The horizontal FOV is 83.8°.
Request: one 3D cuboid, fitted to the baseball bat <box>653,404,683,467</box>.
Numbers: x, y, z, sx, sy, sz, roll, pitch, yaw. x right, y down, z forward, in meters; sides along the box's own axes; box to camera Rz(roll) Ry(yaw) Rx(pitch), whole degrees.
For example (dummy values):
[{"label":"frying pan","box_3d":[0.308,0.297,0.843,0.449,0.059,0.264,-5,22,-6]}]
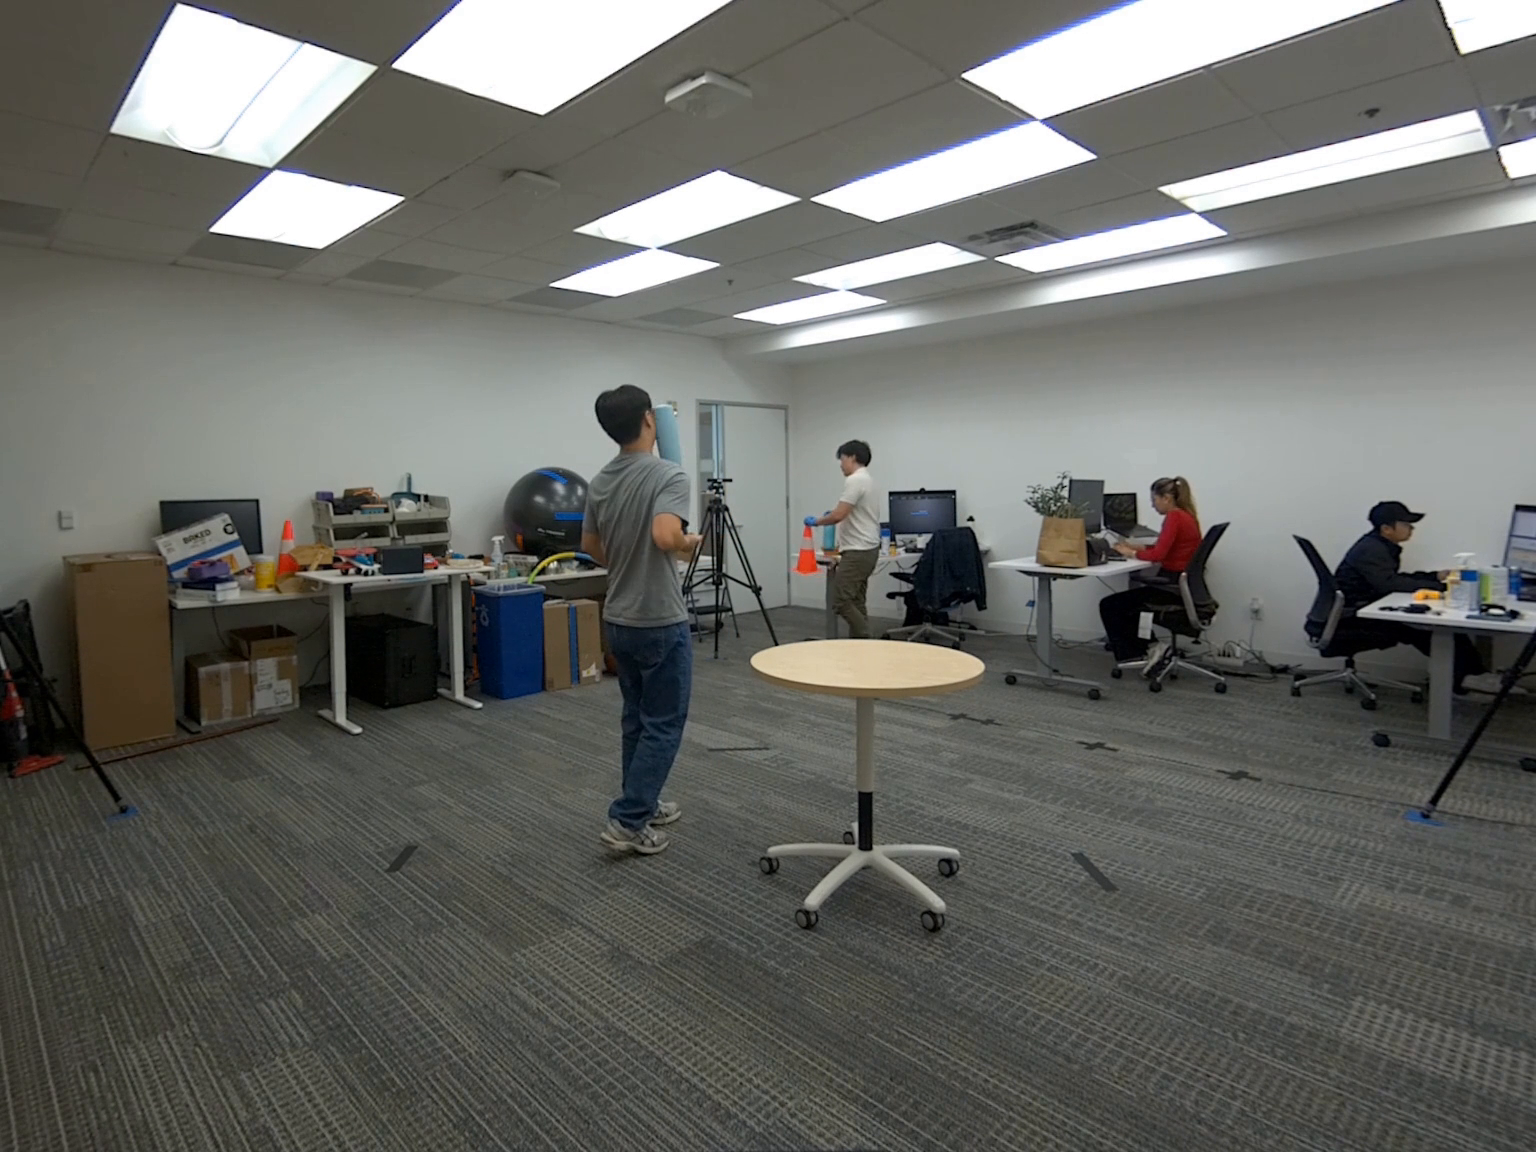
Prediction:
[{"label":"baseball bat","box_3d":[-0.361,-0.396,3.336,0.089,0.541,0.089,-11,3,-1]}]
